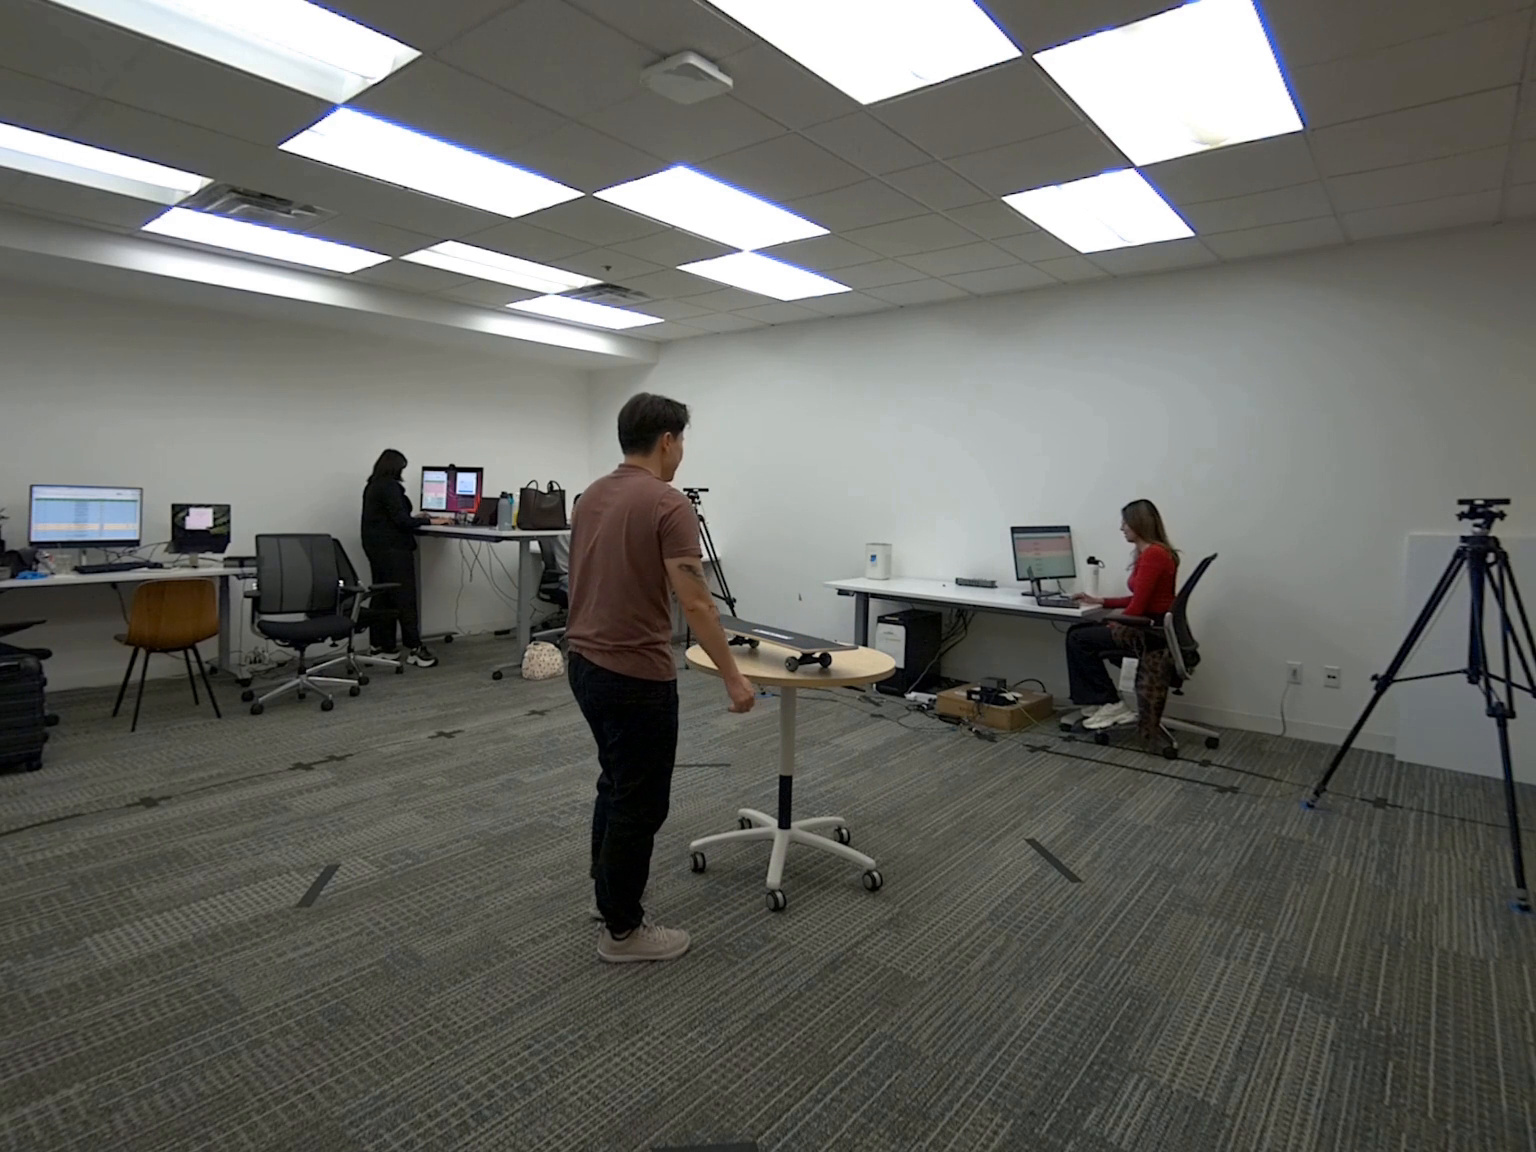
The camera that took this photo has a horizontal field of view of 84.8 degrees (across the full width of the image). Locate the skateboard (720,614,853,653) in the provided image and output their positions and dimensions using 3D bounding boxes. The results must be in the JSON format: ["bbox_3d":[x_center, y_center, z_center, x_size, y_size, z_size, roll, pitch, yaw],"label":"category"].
[{"bbox_3d":[0.003,0.244,3.055,0.188,0.110,0.812,-2,7,-36],"label":"skateboard"}]
